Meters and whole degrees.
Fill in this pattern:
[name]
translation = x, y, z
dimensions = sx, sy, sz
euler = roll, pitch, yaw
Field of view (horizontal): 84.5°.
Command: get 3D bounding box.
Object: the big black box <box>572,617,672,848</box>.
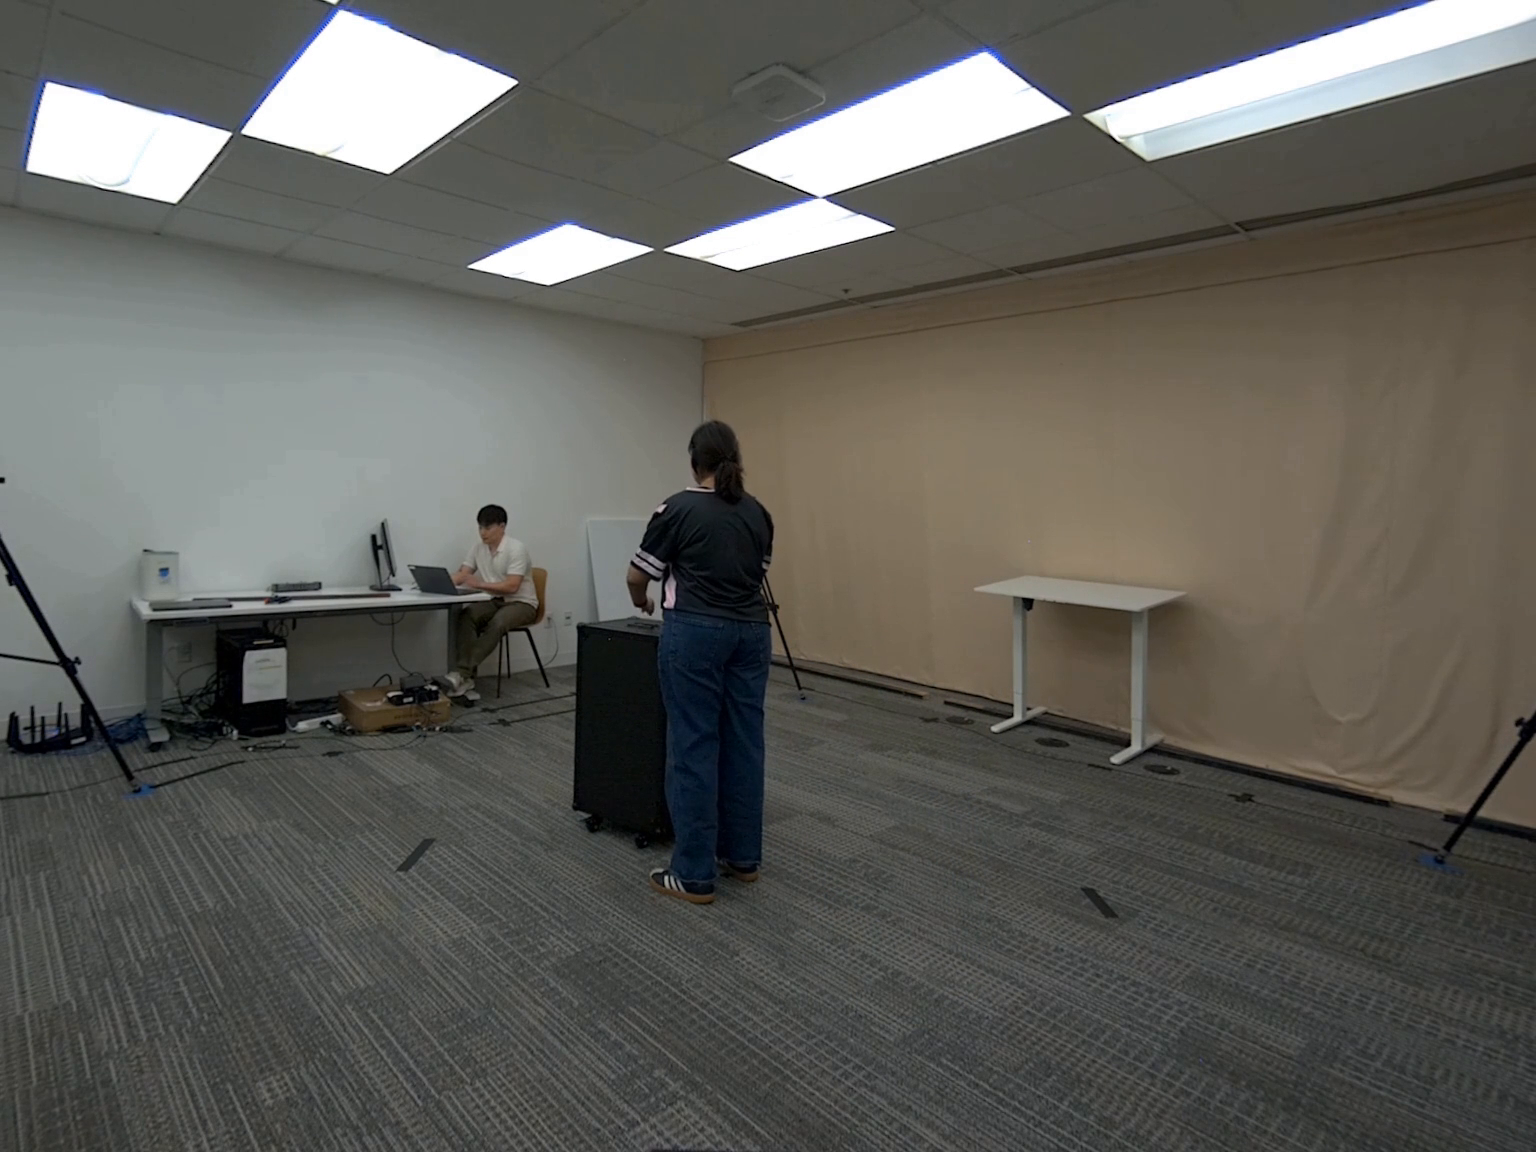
[big black box]
translation = -0.520, 0.633, 3.530
dimensions = 0.536, 0.867, 0.377
euler = 4, 3, 33
